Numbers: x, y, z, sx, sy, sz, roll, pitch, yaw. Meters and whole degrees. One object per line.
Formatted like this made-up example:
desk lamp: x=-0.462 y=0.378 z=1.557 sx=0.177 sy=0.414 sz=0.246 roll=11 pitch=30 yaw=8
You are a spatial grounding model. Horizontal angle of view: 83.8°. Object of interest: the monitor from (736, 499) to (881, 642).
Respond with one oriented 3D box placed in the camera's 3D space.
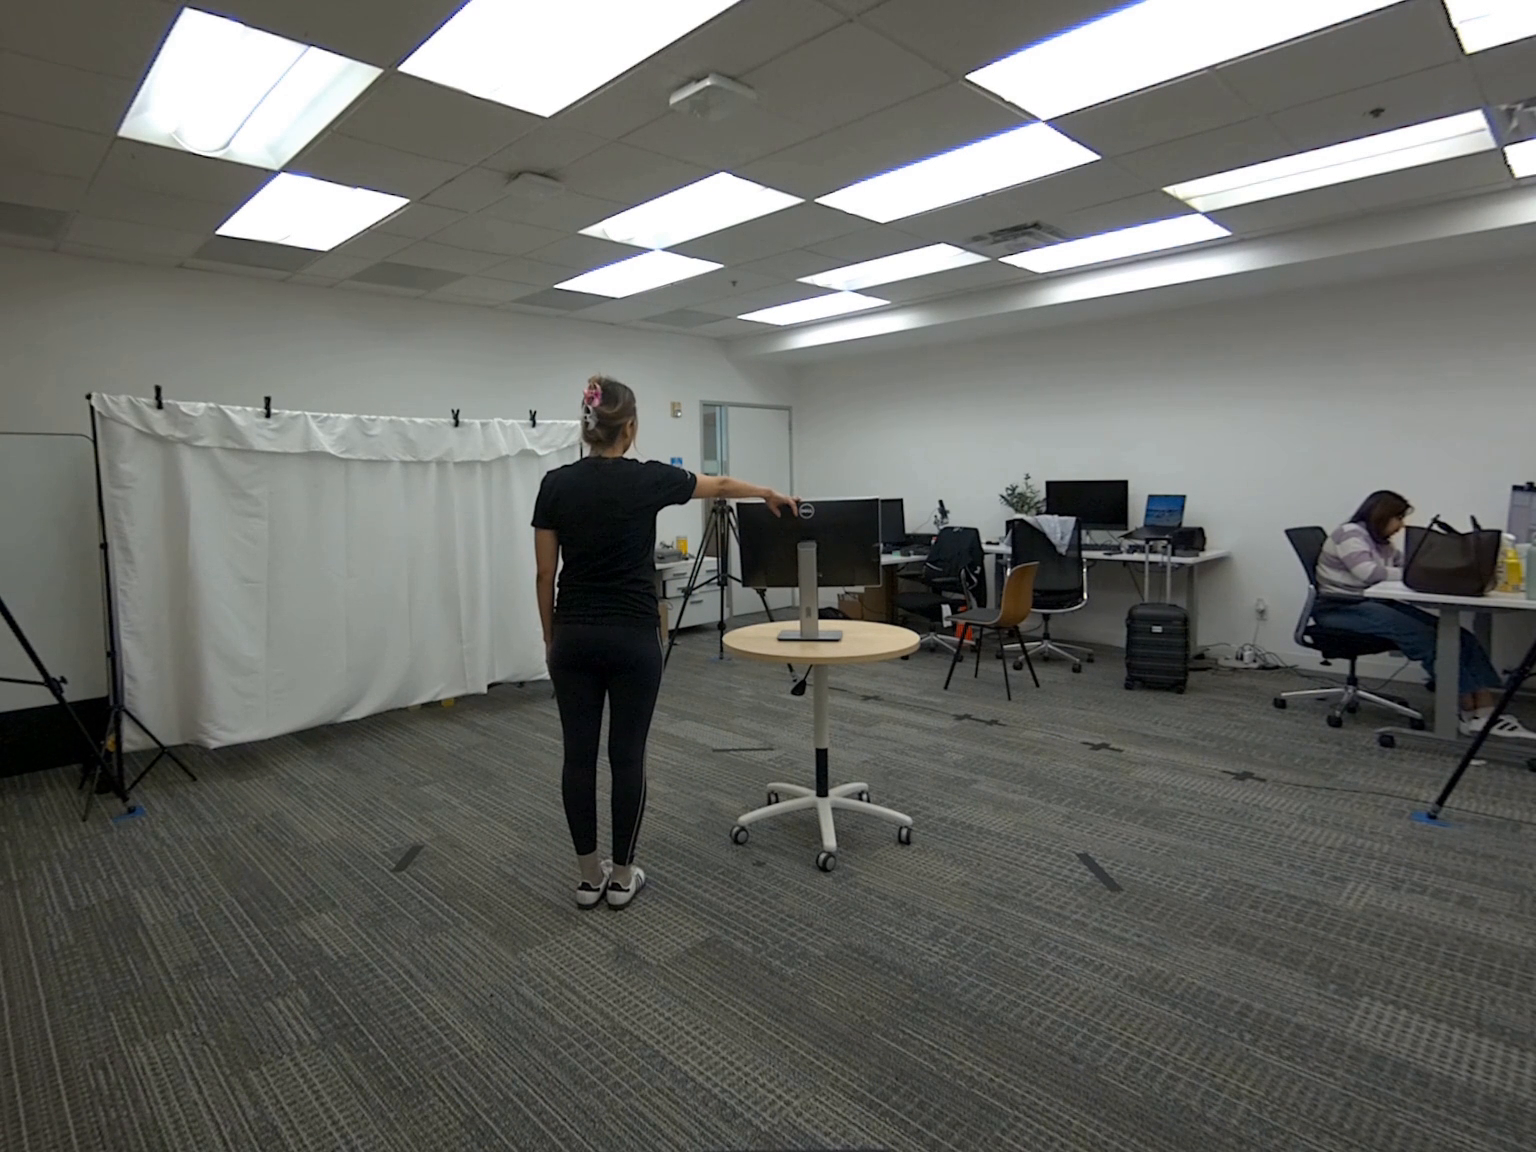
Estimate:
monitor: x=0.157 y=-0.022 z=3.330 sx=0.543 sy=0.521 sz=0.186 roll=-1 pitch=3 yaw=8
